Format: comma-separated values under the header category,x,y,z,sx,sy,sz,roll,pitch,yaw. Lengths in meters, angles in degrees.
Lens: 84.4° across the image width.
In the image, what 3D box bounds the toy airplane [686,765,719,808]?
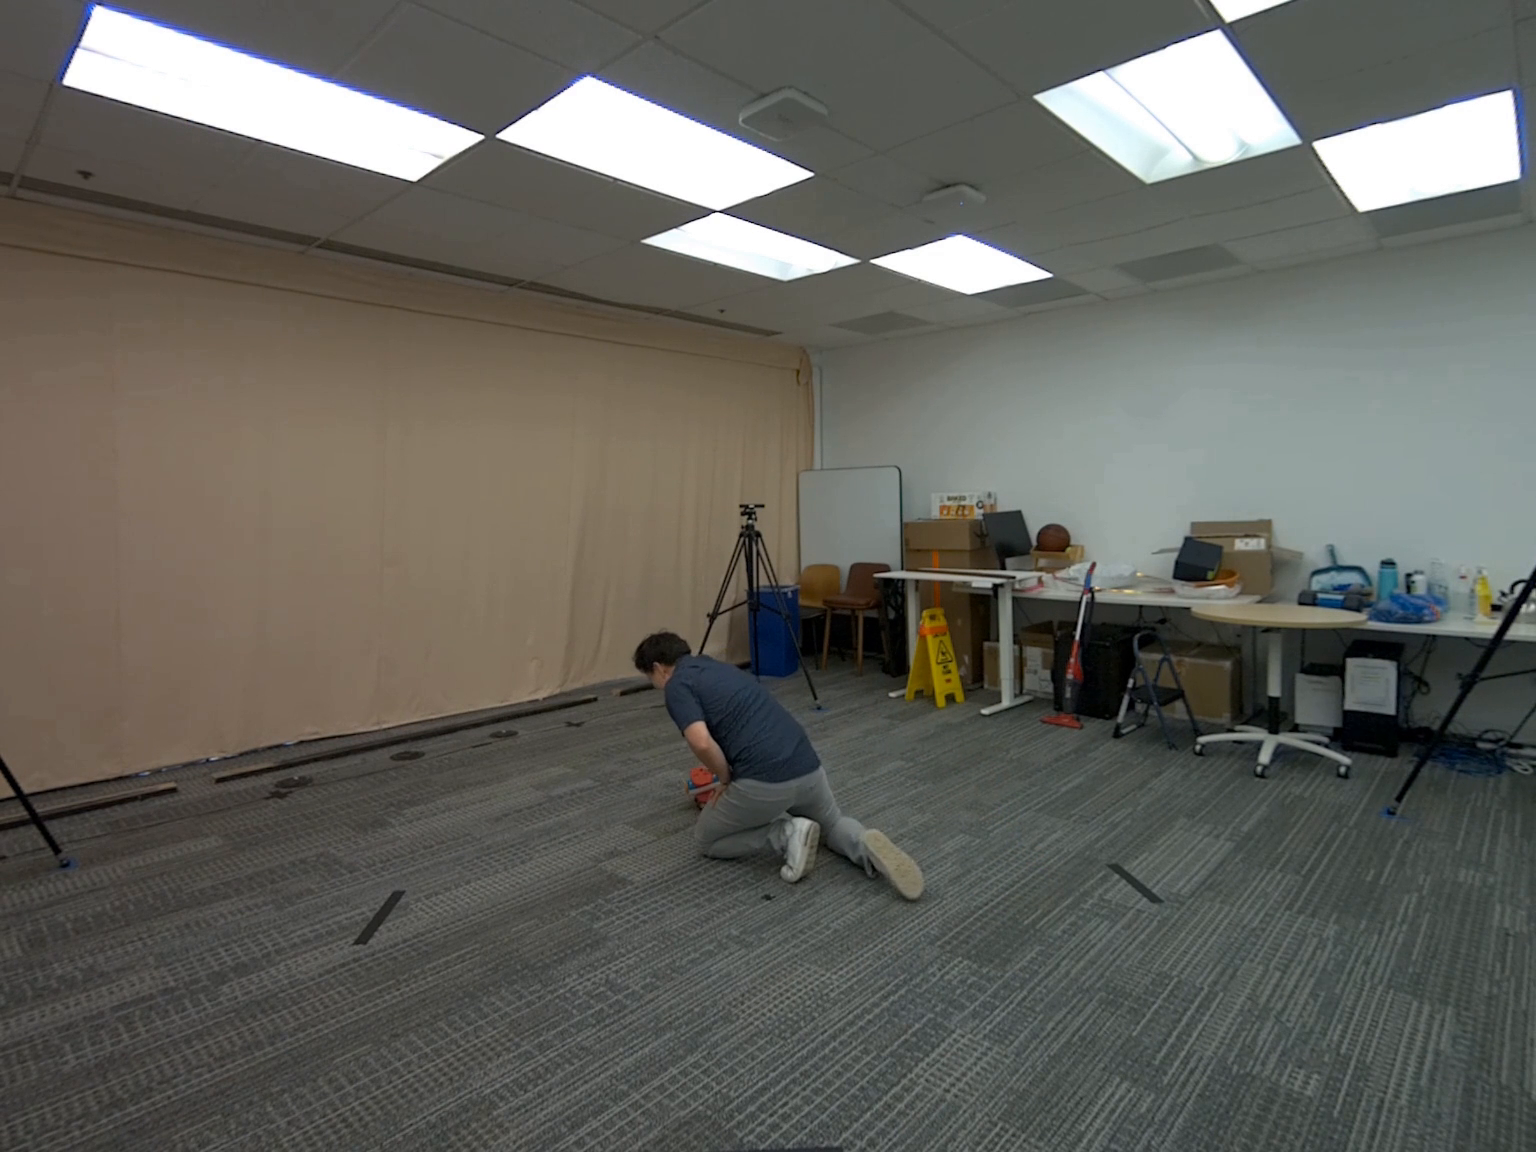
category,x,y,z,sx,sy,sz,roll,pitch,yaw
toy airplane,-0.265,0.963,3.920,0.255,0.155,0.257,-35,10,-35
